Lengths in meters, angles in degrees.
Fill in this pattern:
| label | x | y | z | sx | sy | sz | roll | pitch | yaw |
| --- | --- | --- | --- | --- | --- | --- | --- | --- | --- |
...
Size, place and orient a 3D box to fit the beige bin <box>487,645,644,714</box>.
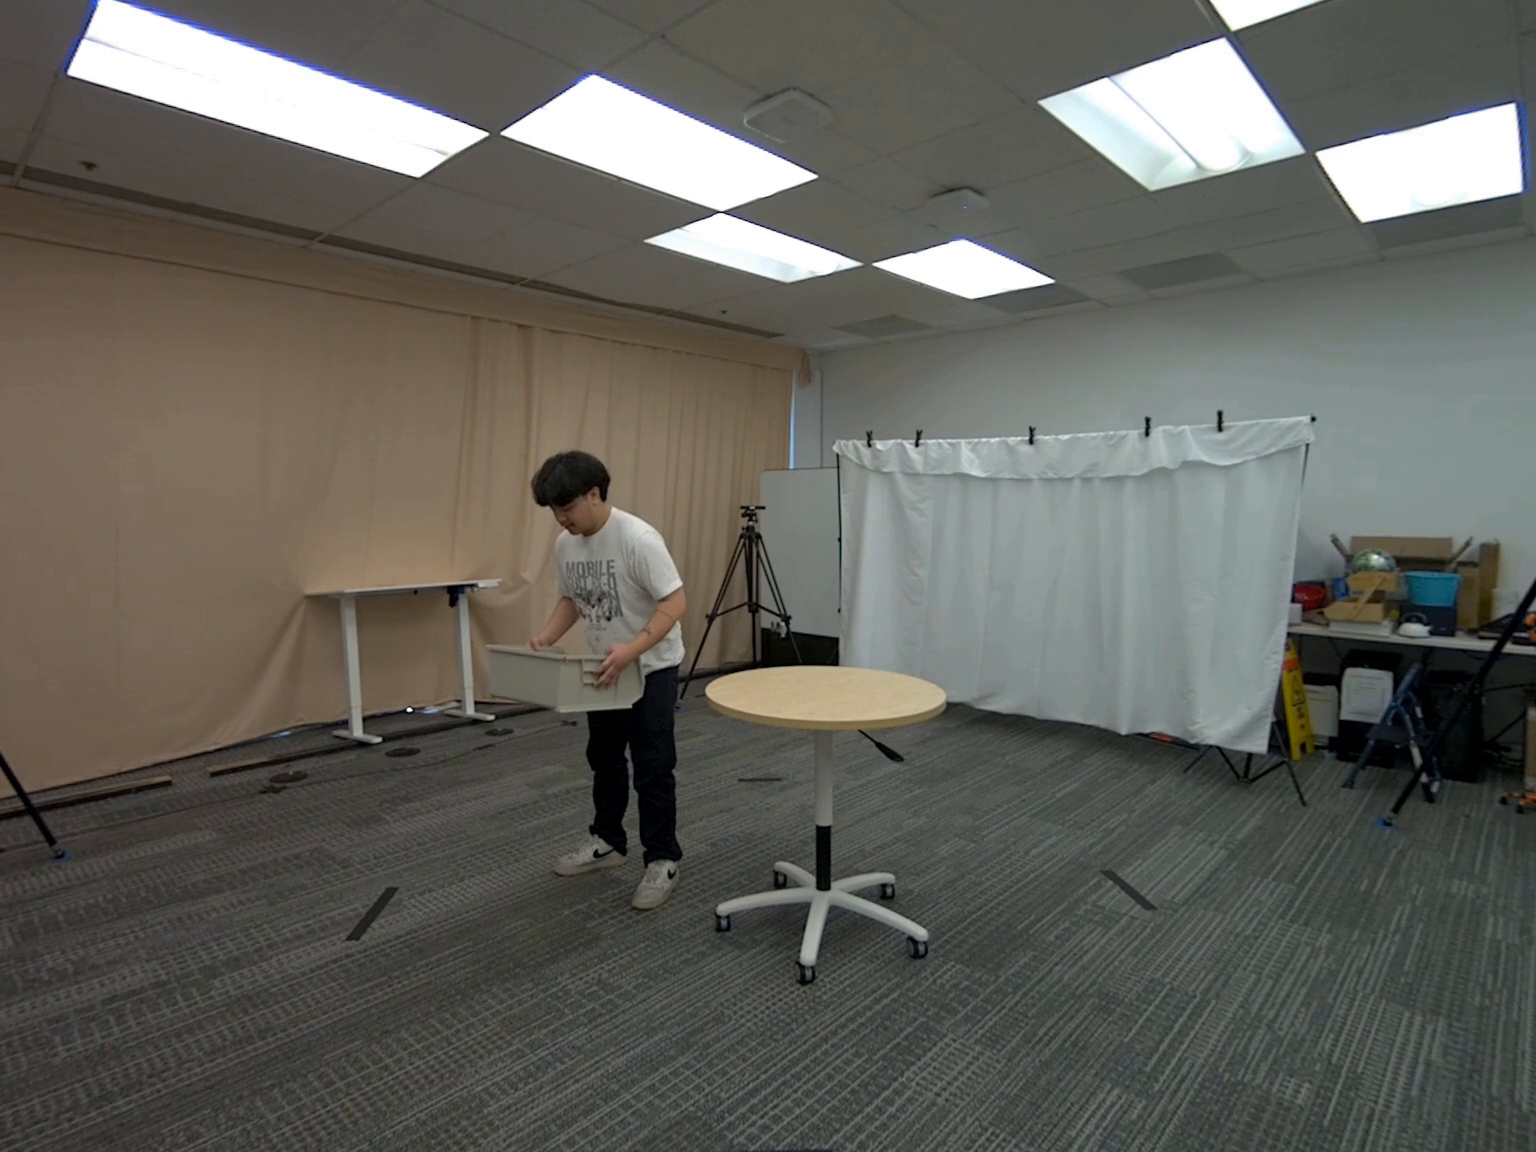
| label | x | y | z | sx | sy | sz | roll | pitch | yaw |
| --- | --- | --- | --- | --- | --- | --- | --- | --- | --- |
| beige bin | -0.712 | 0.342 | 2.903 | 0.436 | 0.189 | 0.365 | 3 | 0 | 38 |
